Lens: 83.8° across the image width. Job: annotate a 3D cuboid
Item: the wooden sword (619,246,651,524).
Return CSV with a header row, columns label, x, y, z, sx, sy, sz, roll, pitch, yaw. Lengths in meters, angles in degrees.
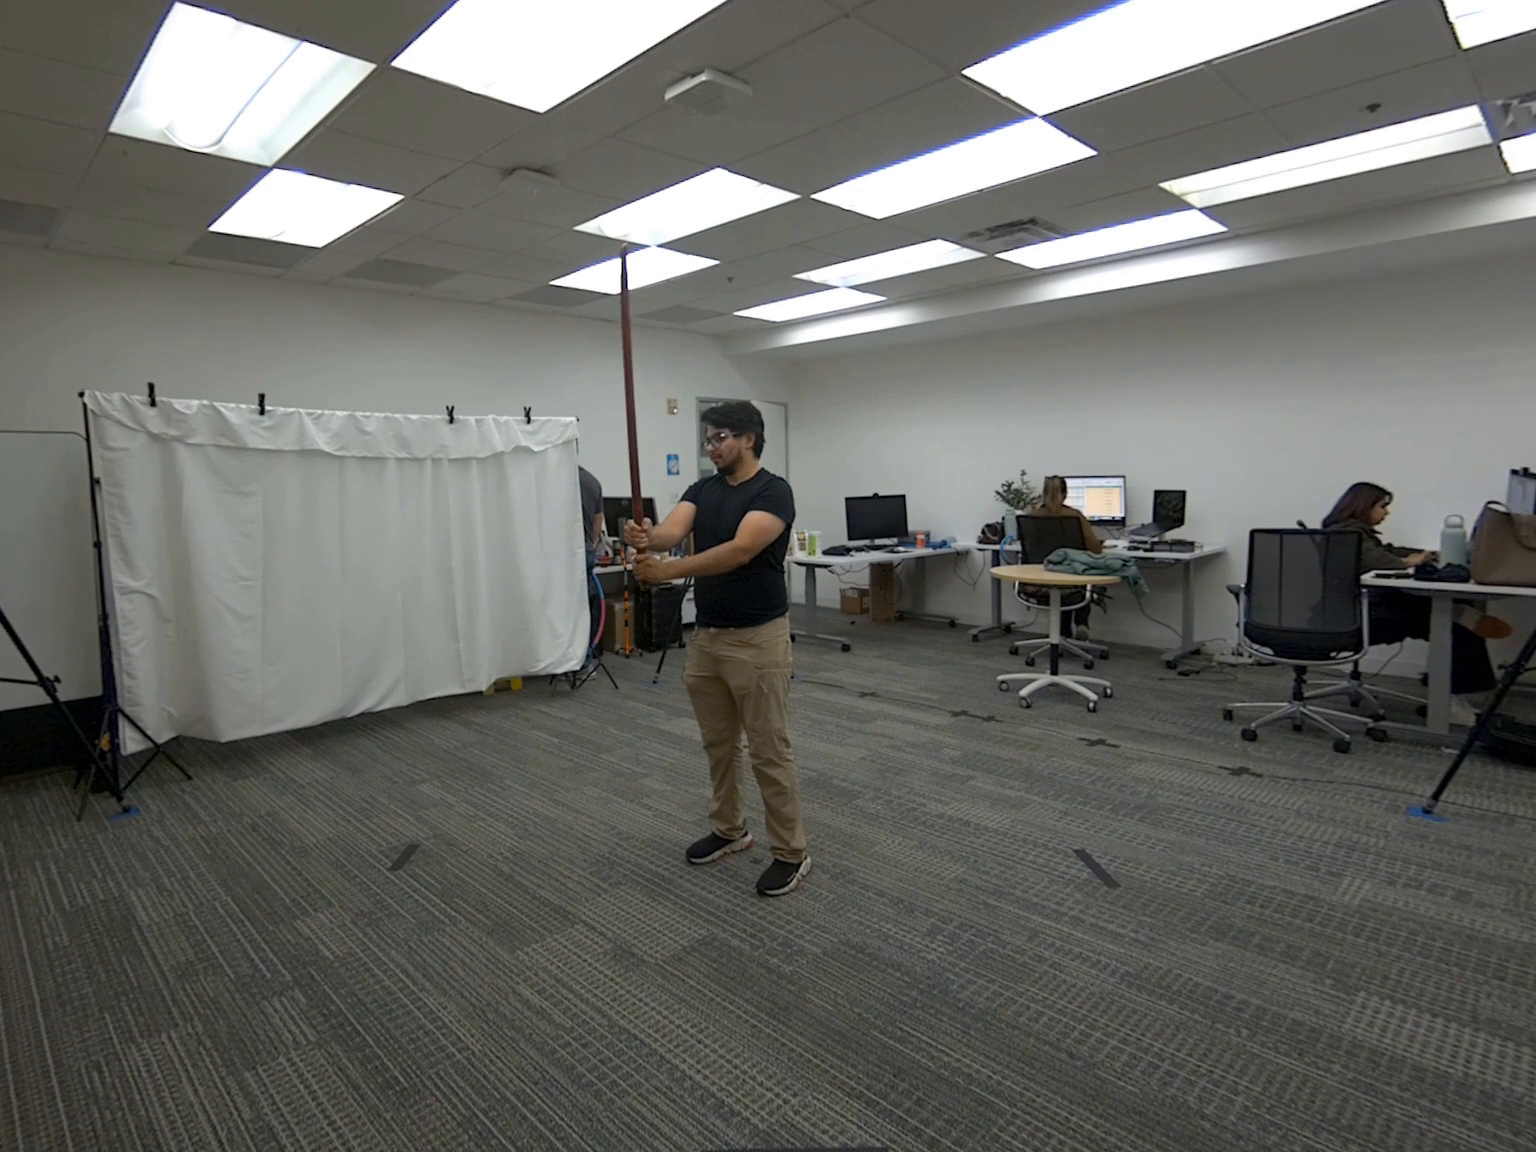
label,x,y,z,sx,sy,sz,roll,pitch,yaw
wooden sword,-0.397,-0.459,2.521,0.052,1.009,0.024,7,19,26
